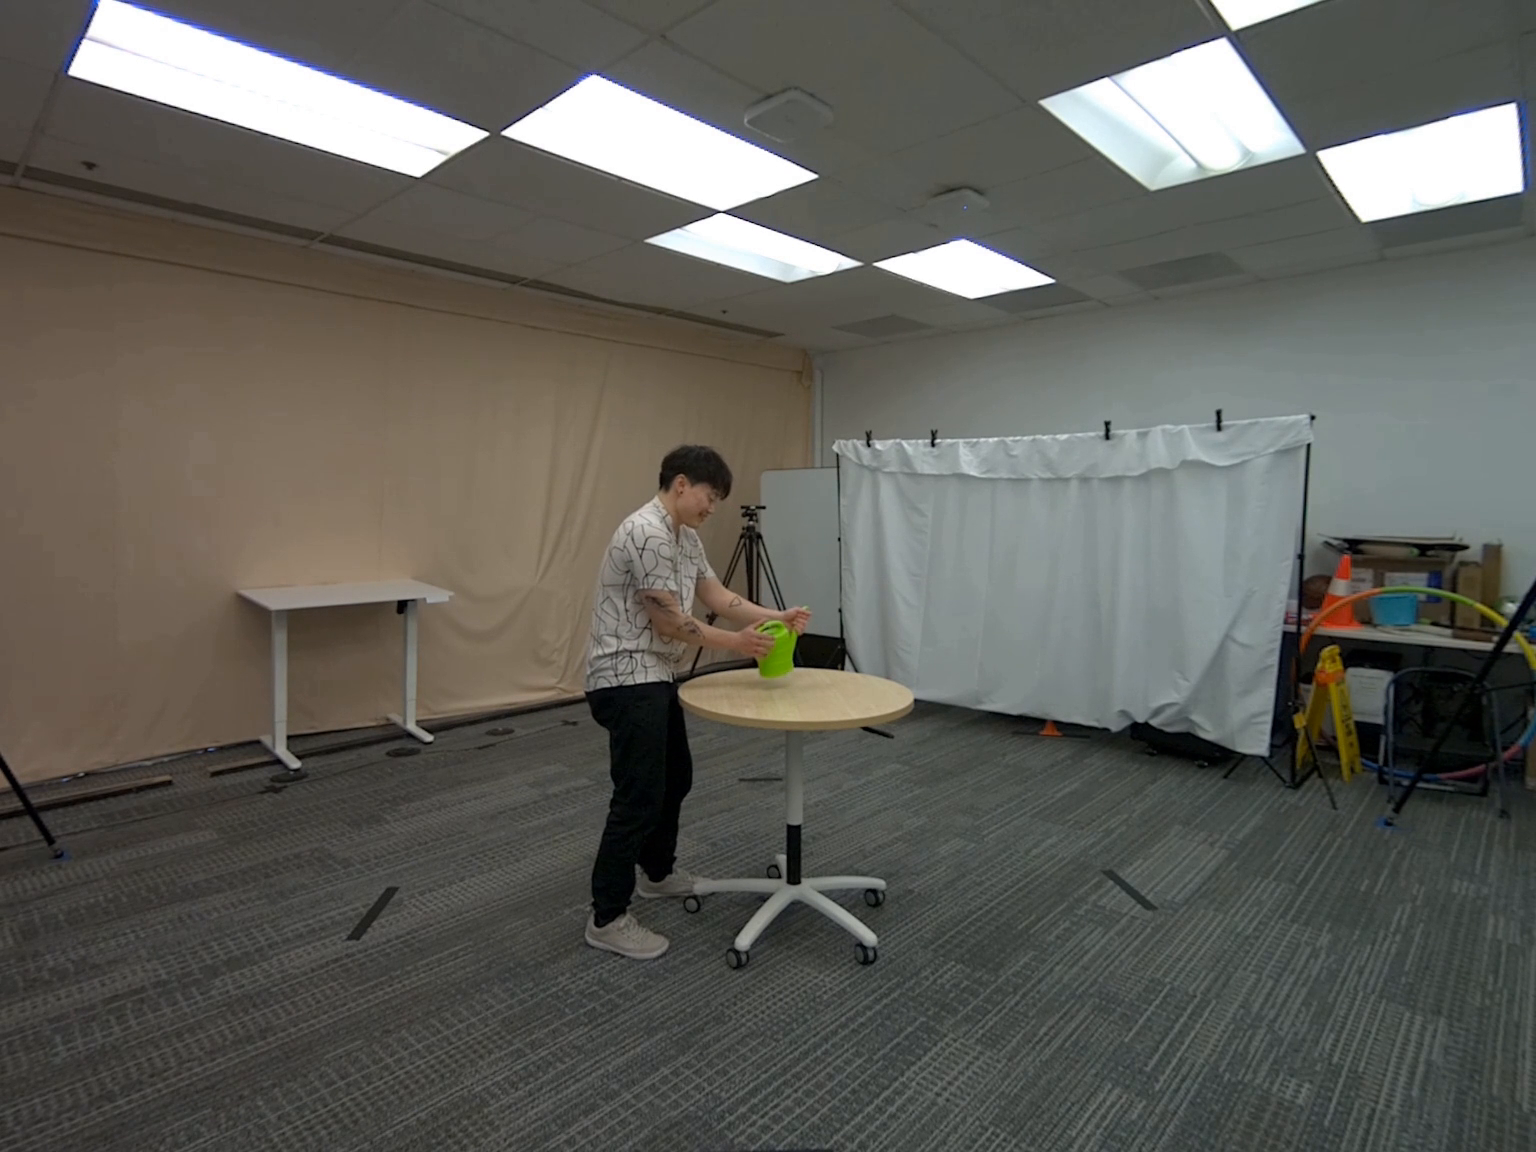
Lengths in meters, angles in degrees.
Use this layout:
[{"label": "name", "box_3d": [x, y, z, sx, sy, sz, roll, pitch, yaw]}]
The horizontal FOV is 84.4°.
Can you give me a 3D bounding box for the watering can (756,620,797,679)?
[{"label": "watering can", "box_3d": [0.056, 0.231, 2.802, 0.272, 0.175, 0.101, -13, 13, -25]}]
